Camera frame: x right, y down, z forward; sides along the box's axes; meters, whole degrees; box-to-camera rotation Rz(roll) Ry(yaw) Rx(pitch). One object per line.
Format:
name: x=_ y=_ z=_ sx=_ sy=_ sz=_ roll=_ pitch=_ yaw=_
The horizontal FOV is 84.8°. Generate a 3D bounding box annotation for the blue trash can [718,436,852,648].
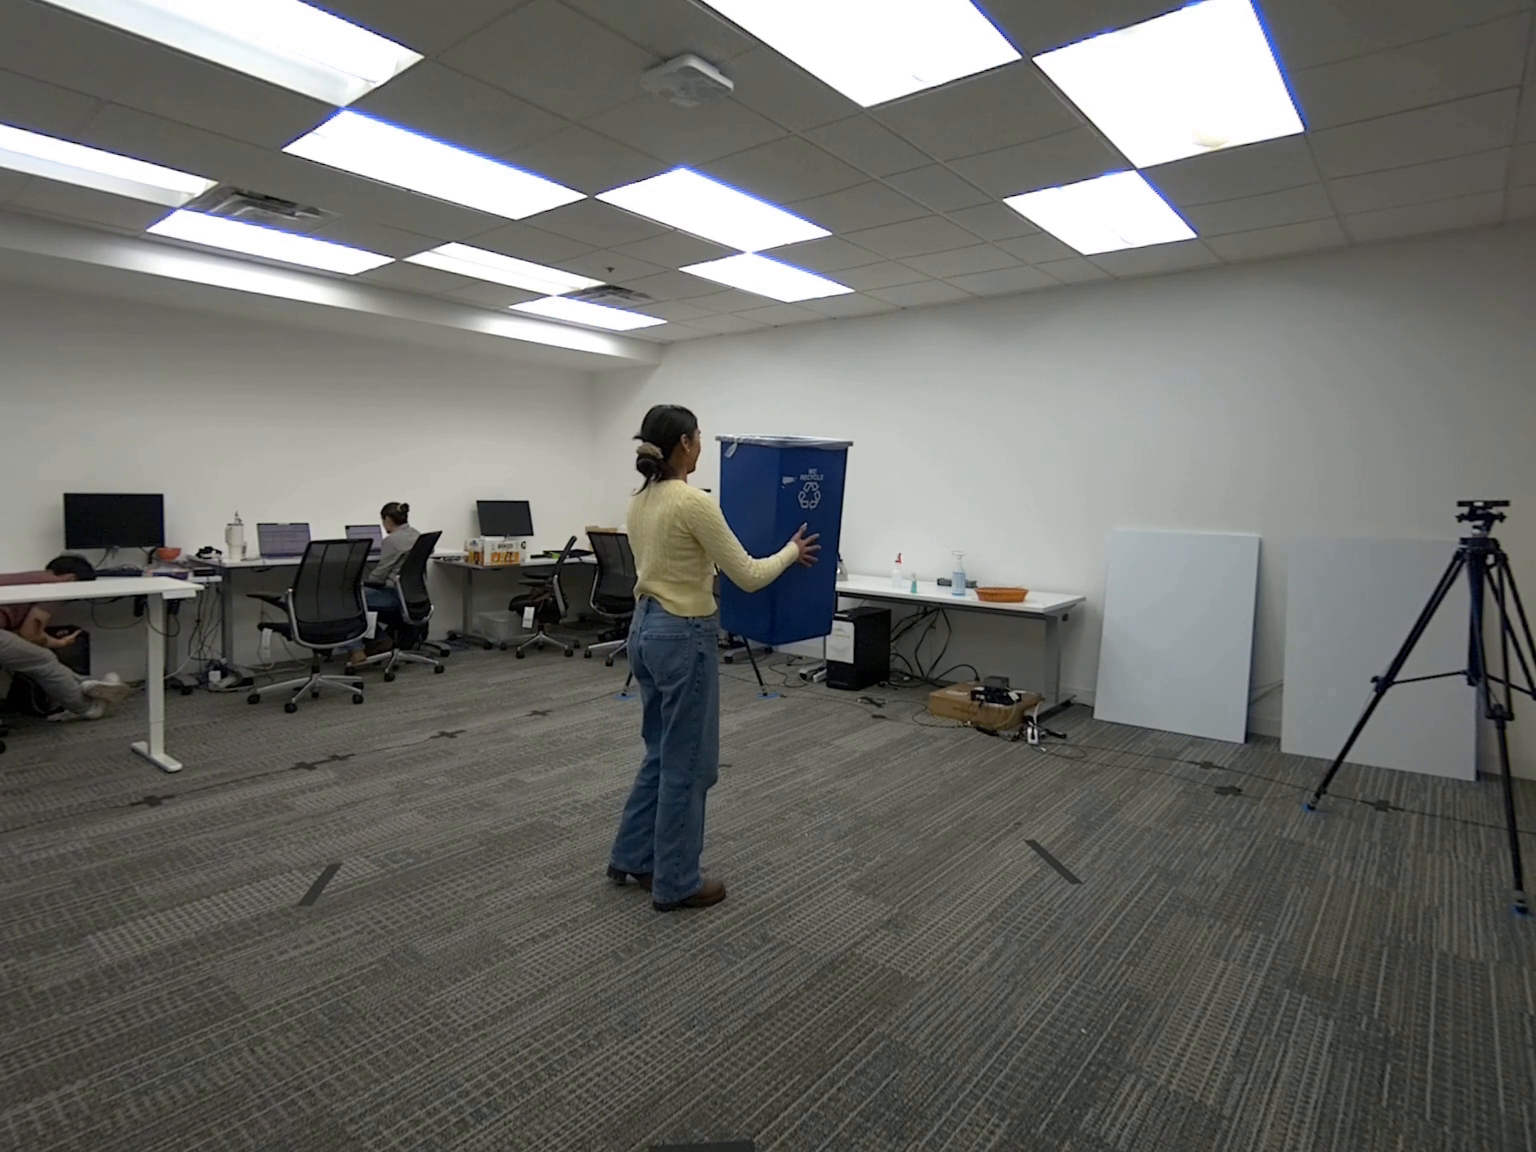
blue trash can: x=0.032 y=-0.152 z=3.094 sx=0.363 sy=0.707 sz=0.392 roll=-6 pitch=12 yaw=-39
